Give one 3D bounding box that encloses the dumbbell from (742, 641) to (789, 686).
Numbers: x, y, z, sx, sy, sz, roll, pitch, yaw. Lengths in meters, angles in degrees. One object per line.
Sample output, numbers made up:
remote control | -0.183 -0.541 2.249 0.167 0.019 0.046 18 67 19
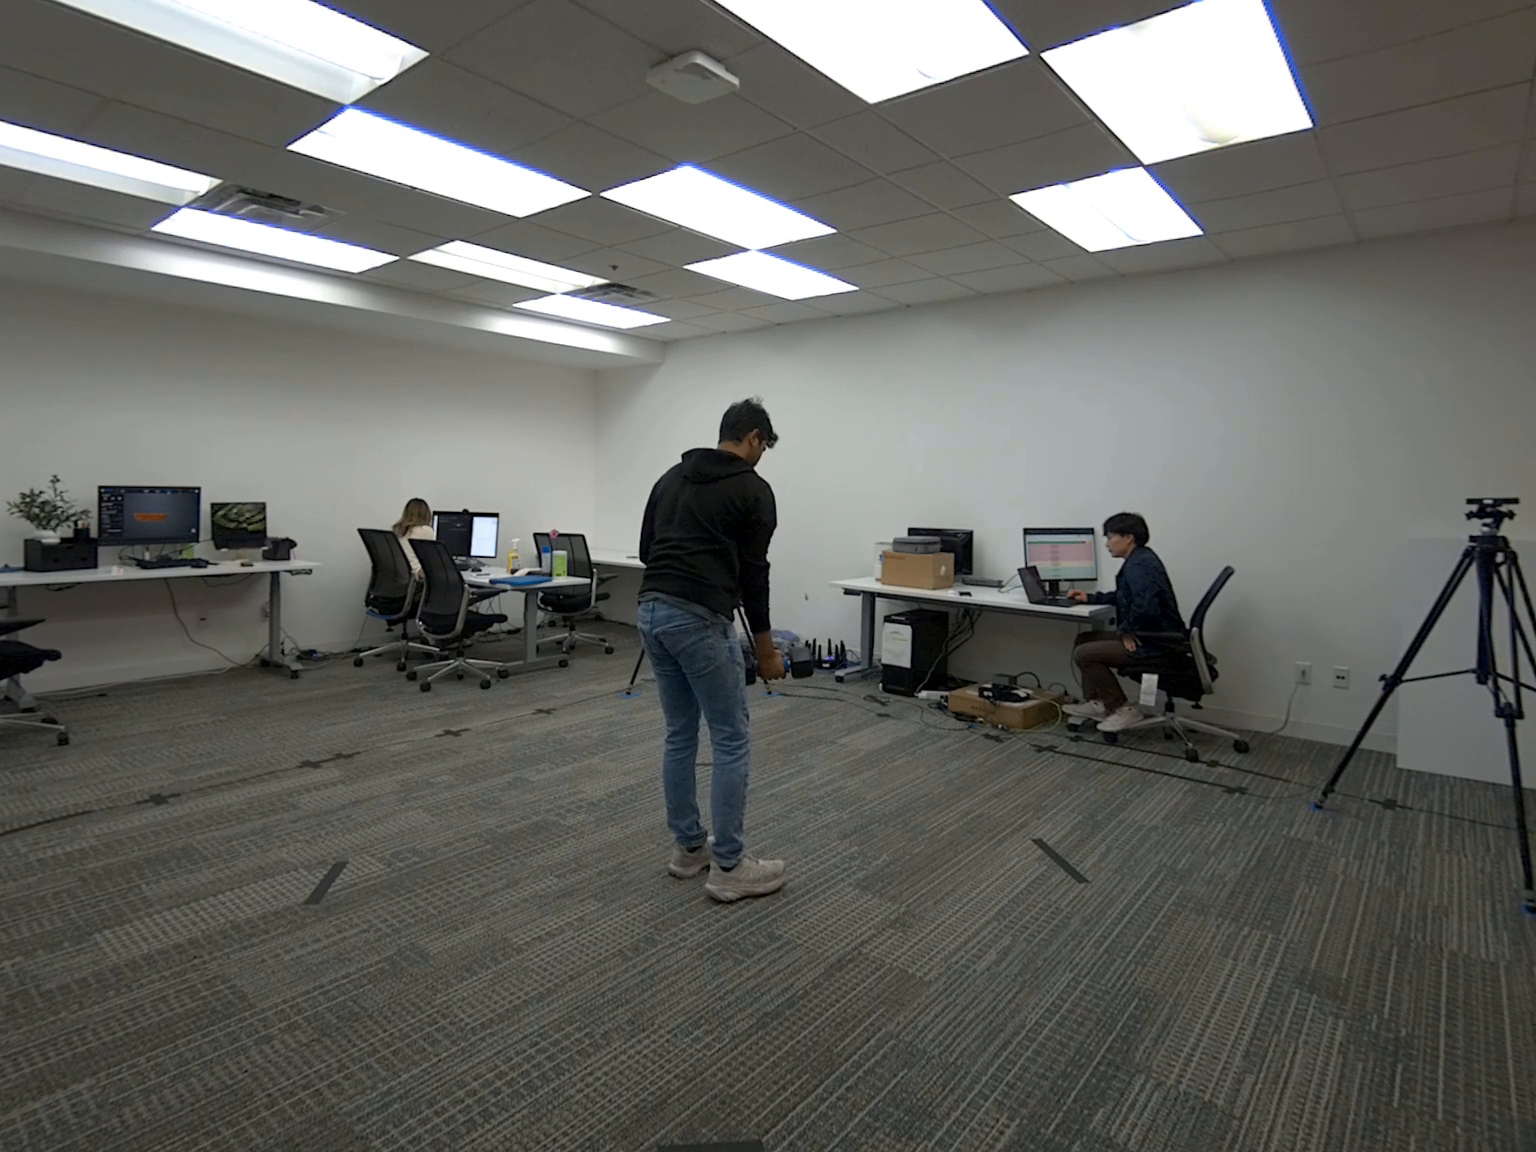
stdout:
dumbbell | 0.007 0.349 3.105 0.294 0.121 0.110 -7 16 1
